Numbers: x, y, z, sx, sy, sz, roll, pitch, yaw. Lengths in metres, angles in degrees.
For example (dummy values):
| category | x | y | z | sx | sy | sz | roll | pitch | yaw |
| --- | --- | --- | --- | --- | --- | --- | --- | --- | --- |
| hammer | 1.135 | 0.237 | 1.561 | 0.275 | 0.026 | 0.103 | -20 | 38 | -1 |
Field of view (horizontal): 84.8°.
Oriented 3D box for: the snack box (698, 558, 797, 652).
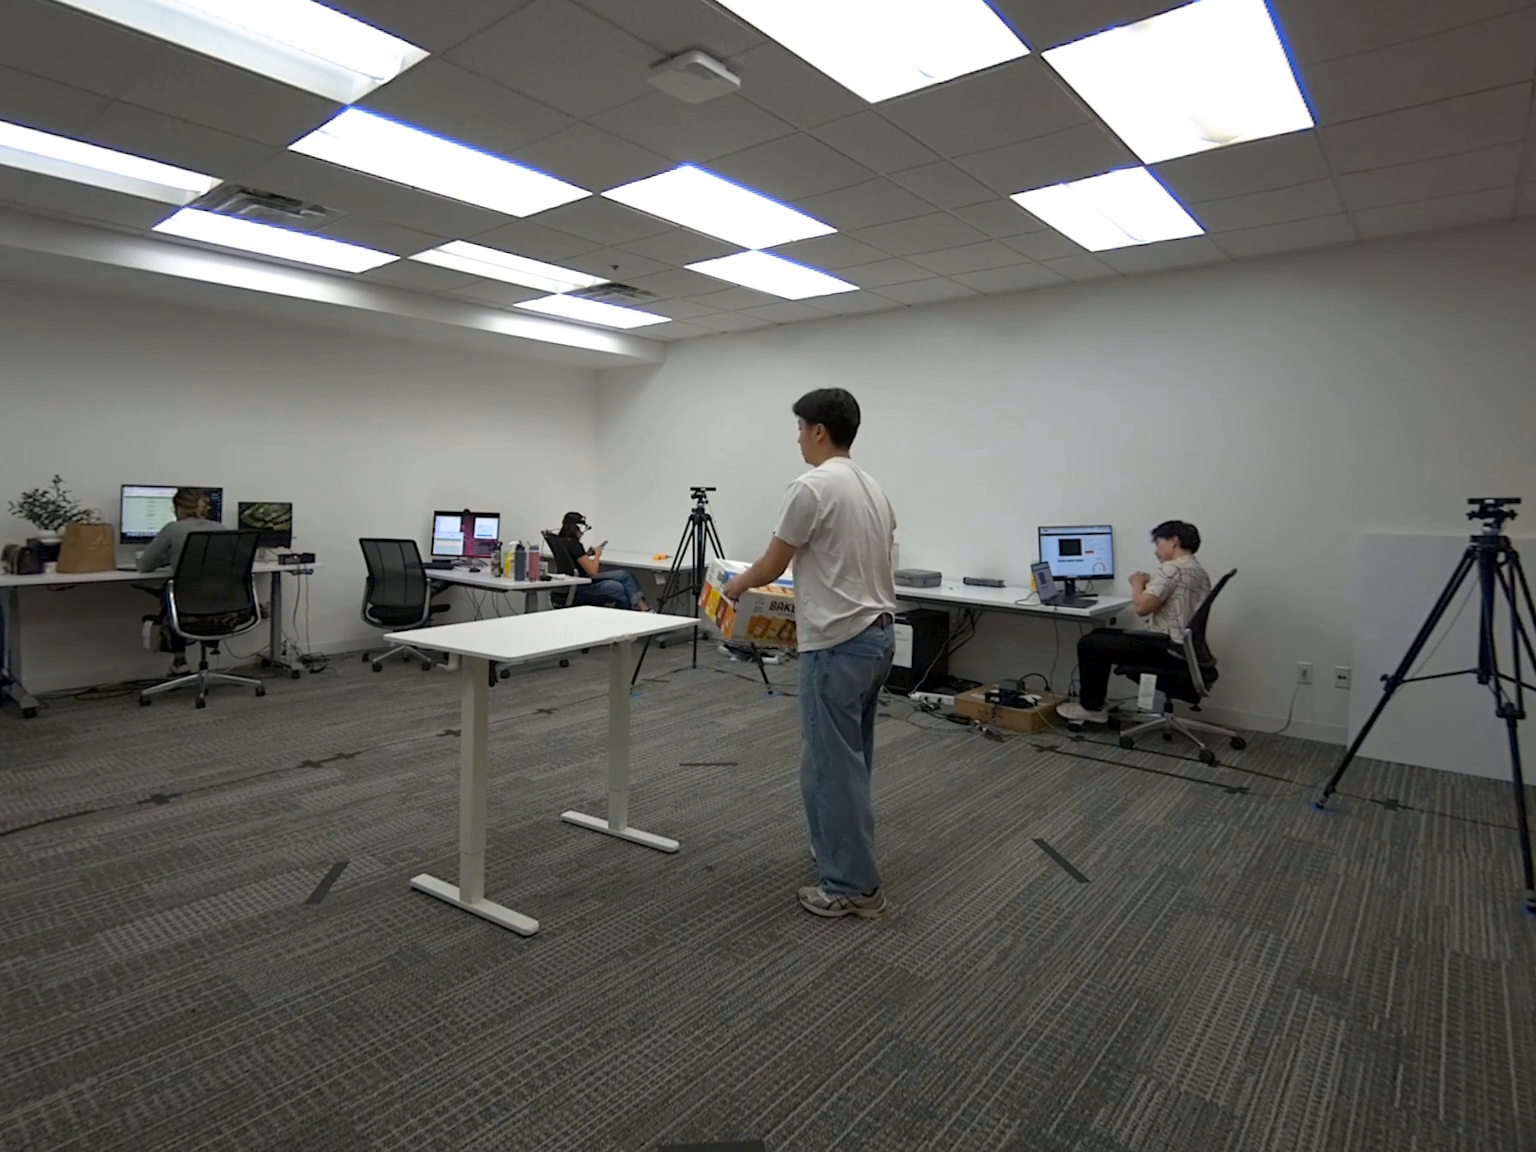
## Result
| category | x | y | z | sx | sy | sz | roll | pitch | yaw |
| --- | --- | --- | --- | --- | --- | --- | --- | --- | --- |
| snack box | -0.022 | 0.104 | 3.333 | 0.394 | 0.204 | 0.353 | 8 | 17 | -27 |
